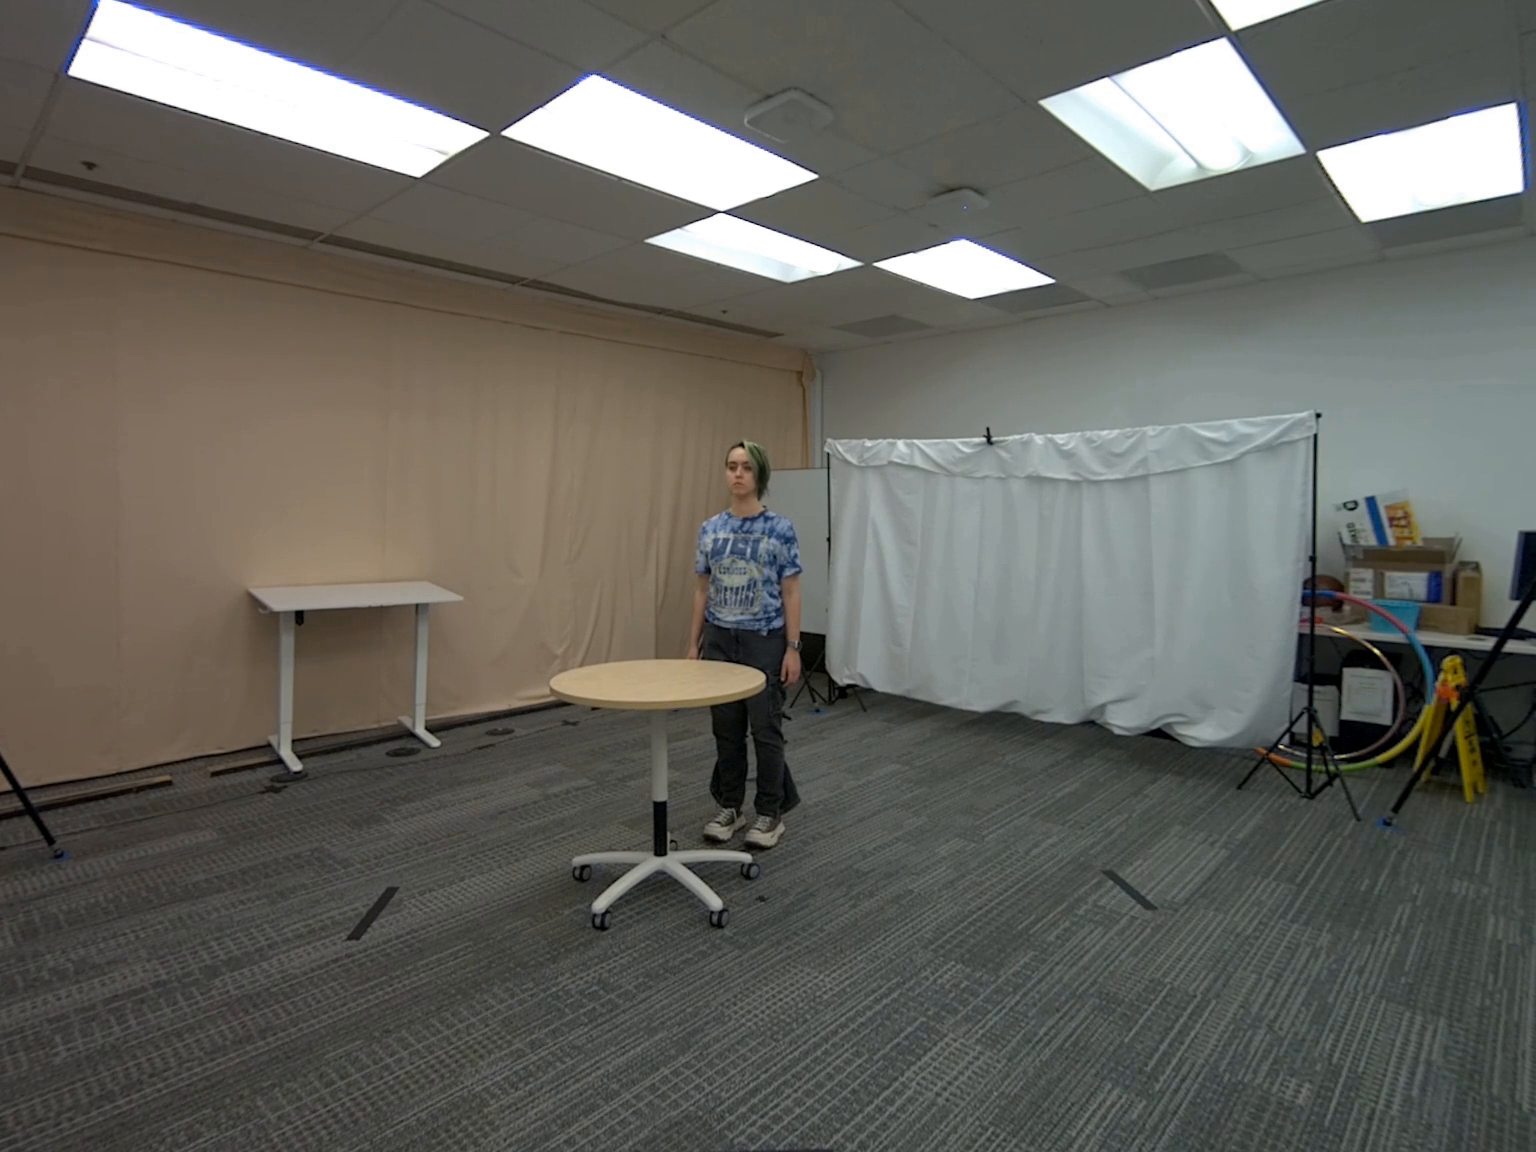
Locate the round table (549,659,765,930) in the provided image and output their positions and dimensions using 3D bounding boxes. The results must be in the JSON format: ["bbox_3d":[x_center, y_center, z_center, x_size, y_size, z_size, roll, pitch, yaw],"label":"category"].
[{"bbox_3d":[-0.393,0.760,3.019,0.763,0.792,0.766,-1,3,-2],"label":"round table"}]
